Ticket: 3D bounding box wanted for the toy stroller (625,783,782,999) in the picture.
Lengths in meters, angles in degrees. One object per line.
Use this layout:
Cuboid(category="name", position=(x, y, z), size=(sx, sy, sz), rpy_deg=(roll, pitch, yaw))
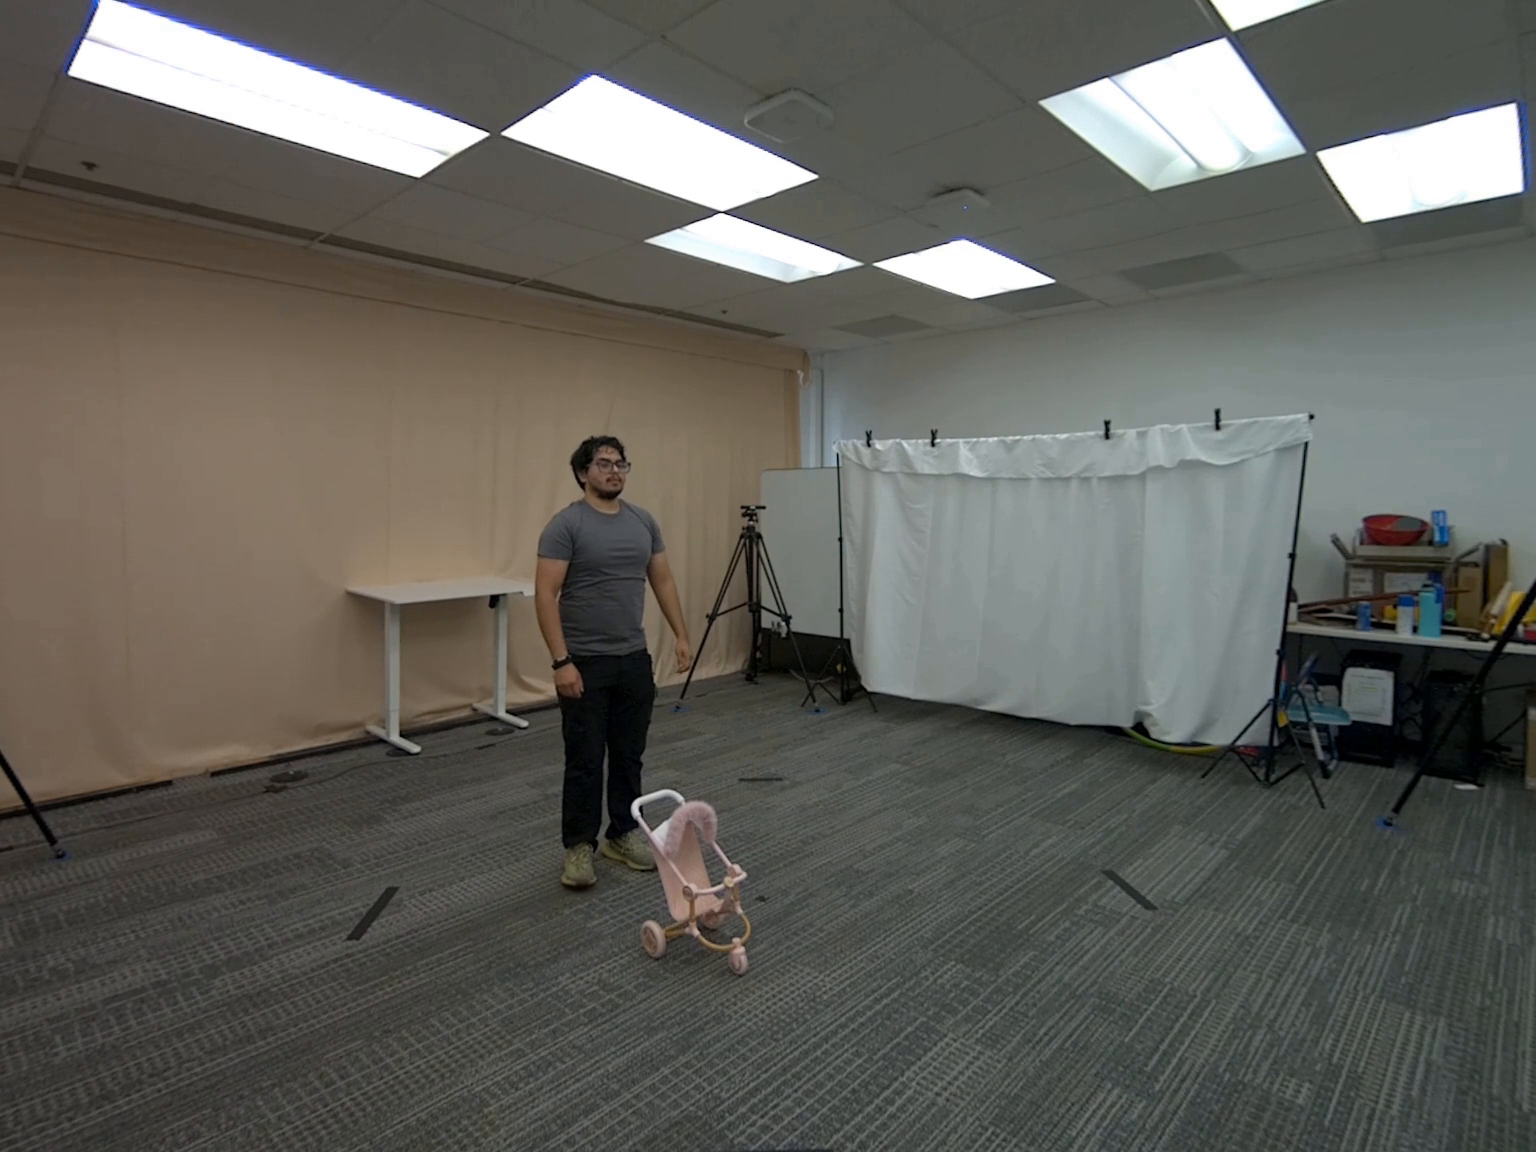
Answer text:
Cuboid(category="toy stroller", position=(-0.223, 0.945, 2.630), size=(0.273, 0.538, 0.349), rpy_deg=(-3, -10, -41))
